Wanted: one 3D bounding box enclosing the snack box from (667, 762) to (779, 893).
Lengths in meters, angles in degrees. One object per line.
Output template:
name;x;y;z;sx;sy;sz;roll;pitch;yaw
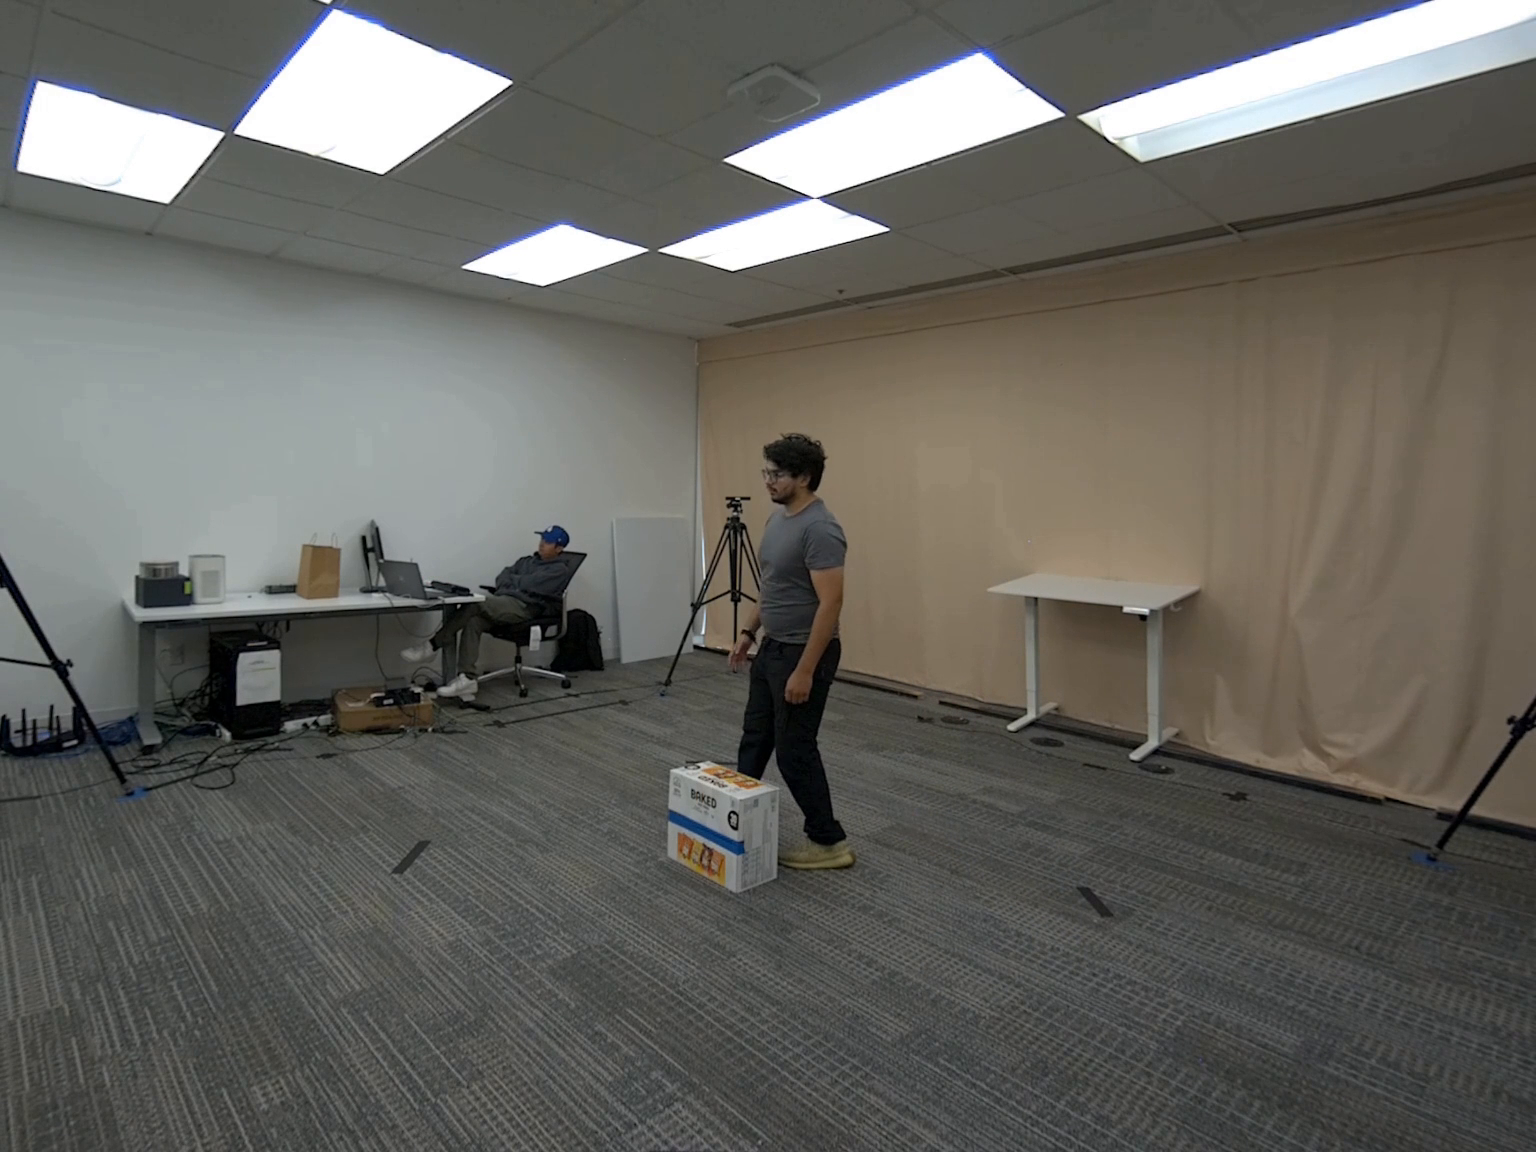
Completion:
snack box;-0.180;0.931;3.162;0.201;0.339;0.415;-2;5;-44
